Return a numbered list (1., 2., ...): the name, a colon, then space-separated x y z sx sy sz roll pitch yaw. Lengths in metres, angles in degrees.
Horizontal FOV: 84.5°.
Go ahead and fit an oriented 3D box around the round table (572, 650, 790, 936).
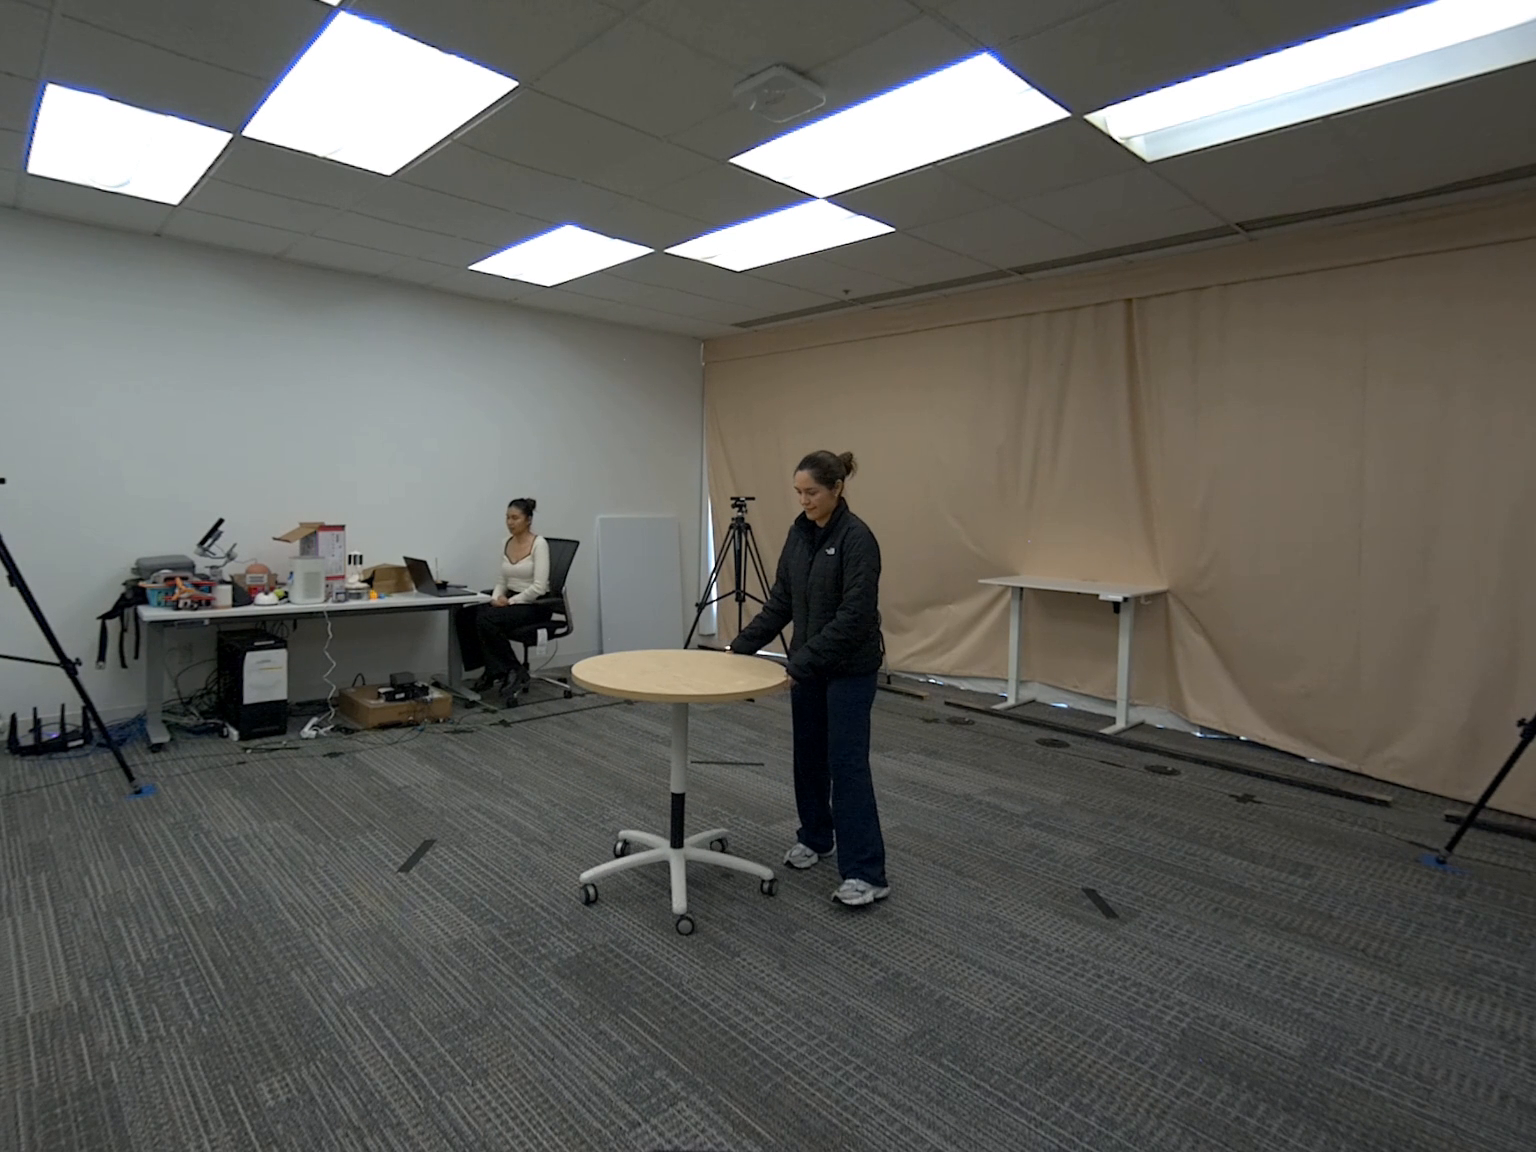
1. round table: -0.307 0.719 2.982 0.784 0.784 0.788 1 4 -1
